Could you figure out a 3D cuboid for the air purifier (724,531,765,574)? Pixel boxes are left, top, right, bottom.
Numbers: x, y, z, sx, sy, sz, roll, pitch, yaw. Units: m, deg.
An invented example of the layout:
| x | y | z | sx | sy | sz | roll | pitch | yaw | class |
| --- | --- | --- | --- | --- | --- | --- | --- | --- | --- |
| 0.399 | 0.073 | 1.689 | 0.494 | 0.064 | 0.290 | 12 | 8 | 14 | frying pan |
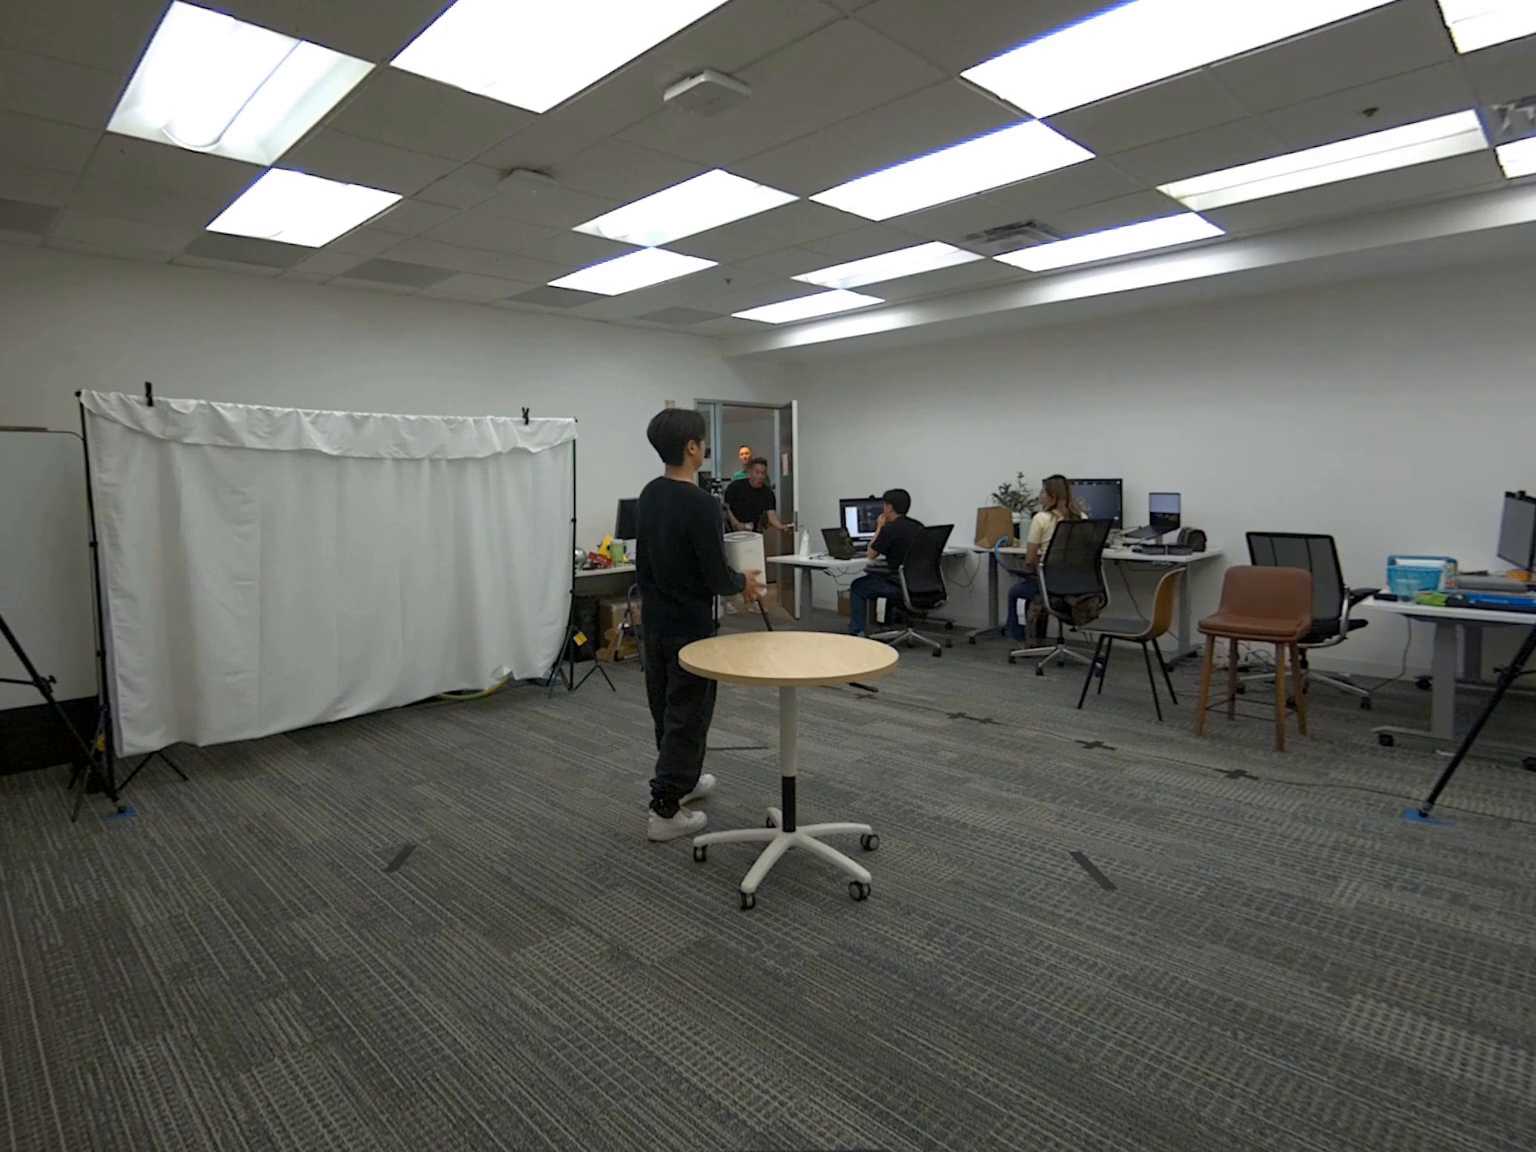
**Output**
| x | y | z | sx | sy | sz | roll | pitch | yaw | class |
| --- | --- | --- | --- | --- | --- | --- | --- | --- | --- |
| -0.118 | -0.038 | 3.565 | 0.167 | 0.262 | 0.177 | -12 | 14 | -34 | air purifier |
